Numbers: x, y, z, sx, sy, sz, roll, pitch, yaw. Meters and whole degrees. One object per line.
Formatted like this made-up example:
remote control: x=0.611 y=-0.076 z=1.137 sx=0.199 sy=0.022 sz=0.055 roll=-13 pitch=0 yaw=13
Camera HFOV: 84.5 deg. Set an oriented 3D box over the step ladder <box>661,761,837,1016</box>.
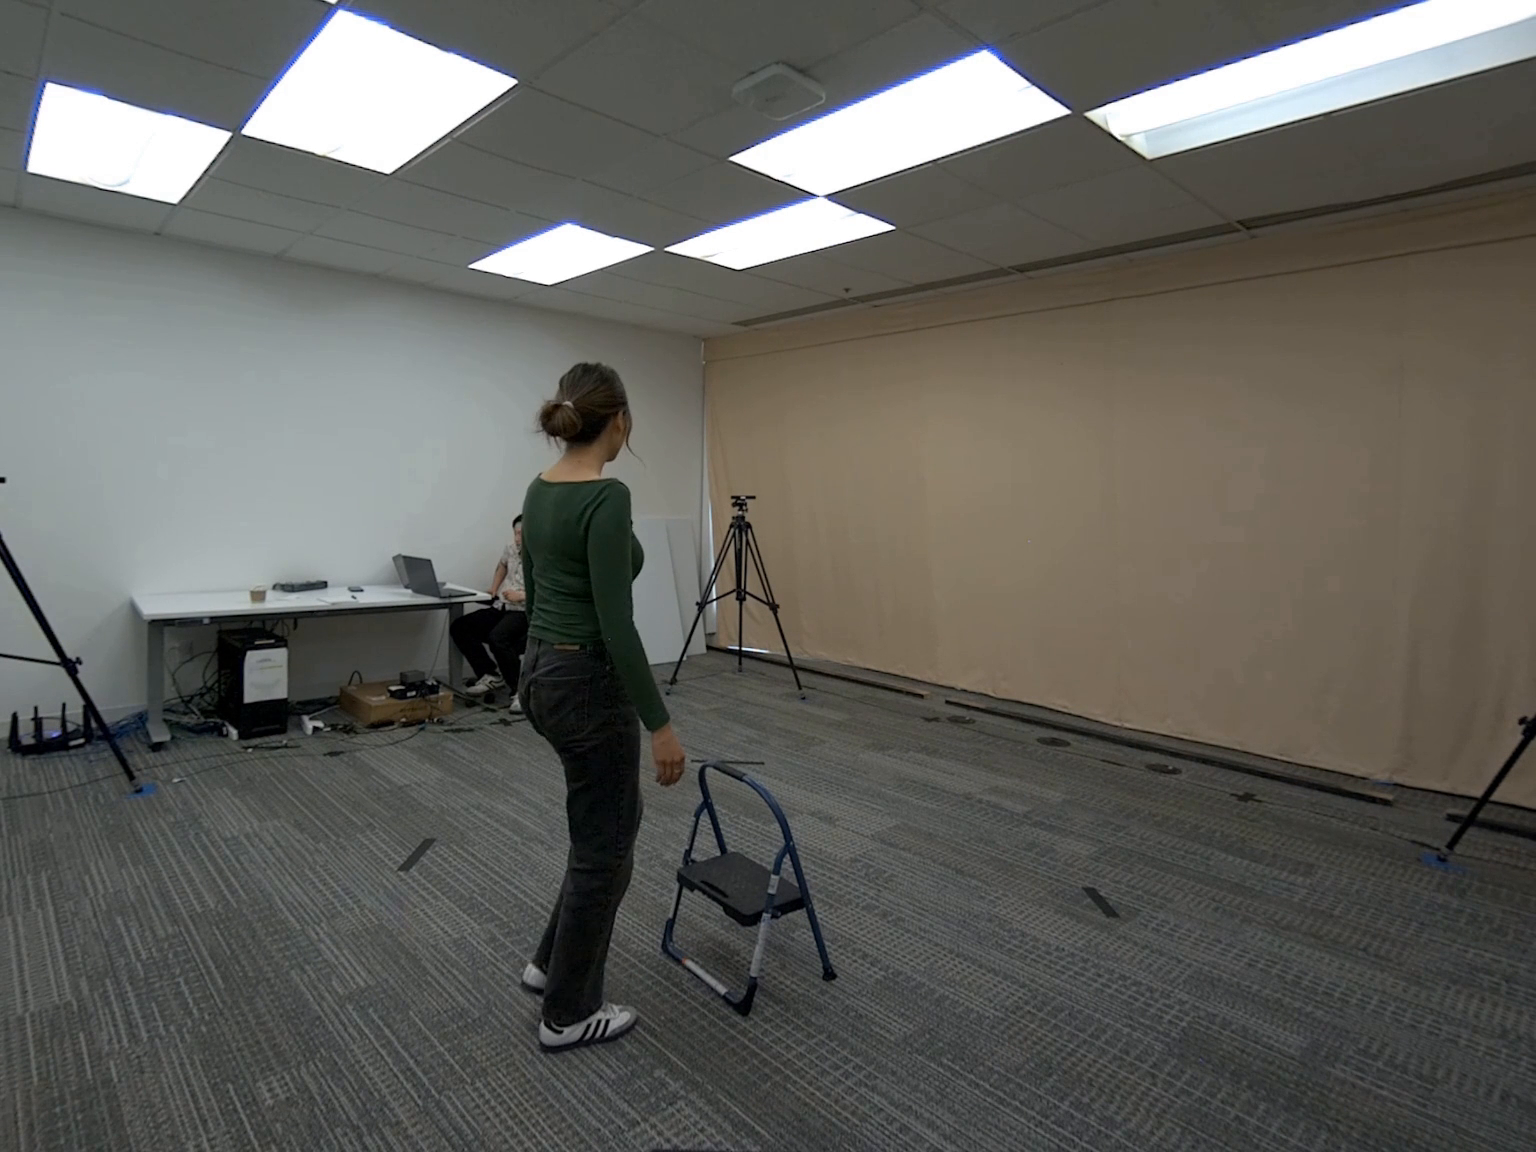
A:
step ladder: x=-0.062 y=0.856 z=2.497 sx=0.341 sy=0.604 sz=0.441 roll=-2 pitch=5 yaw=-40
